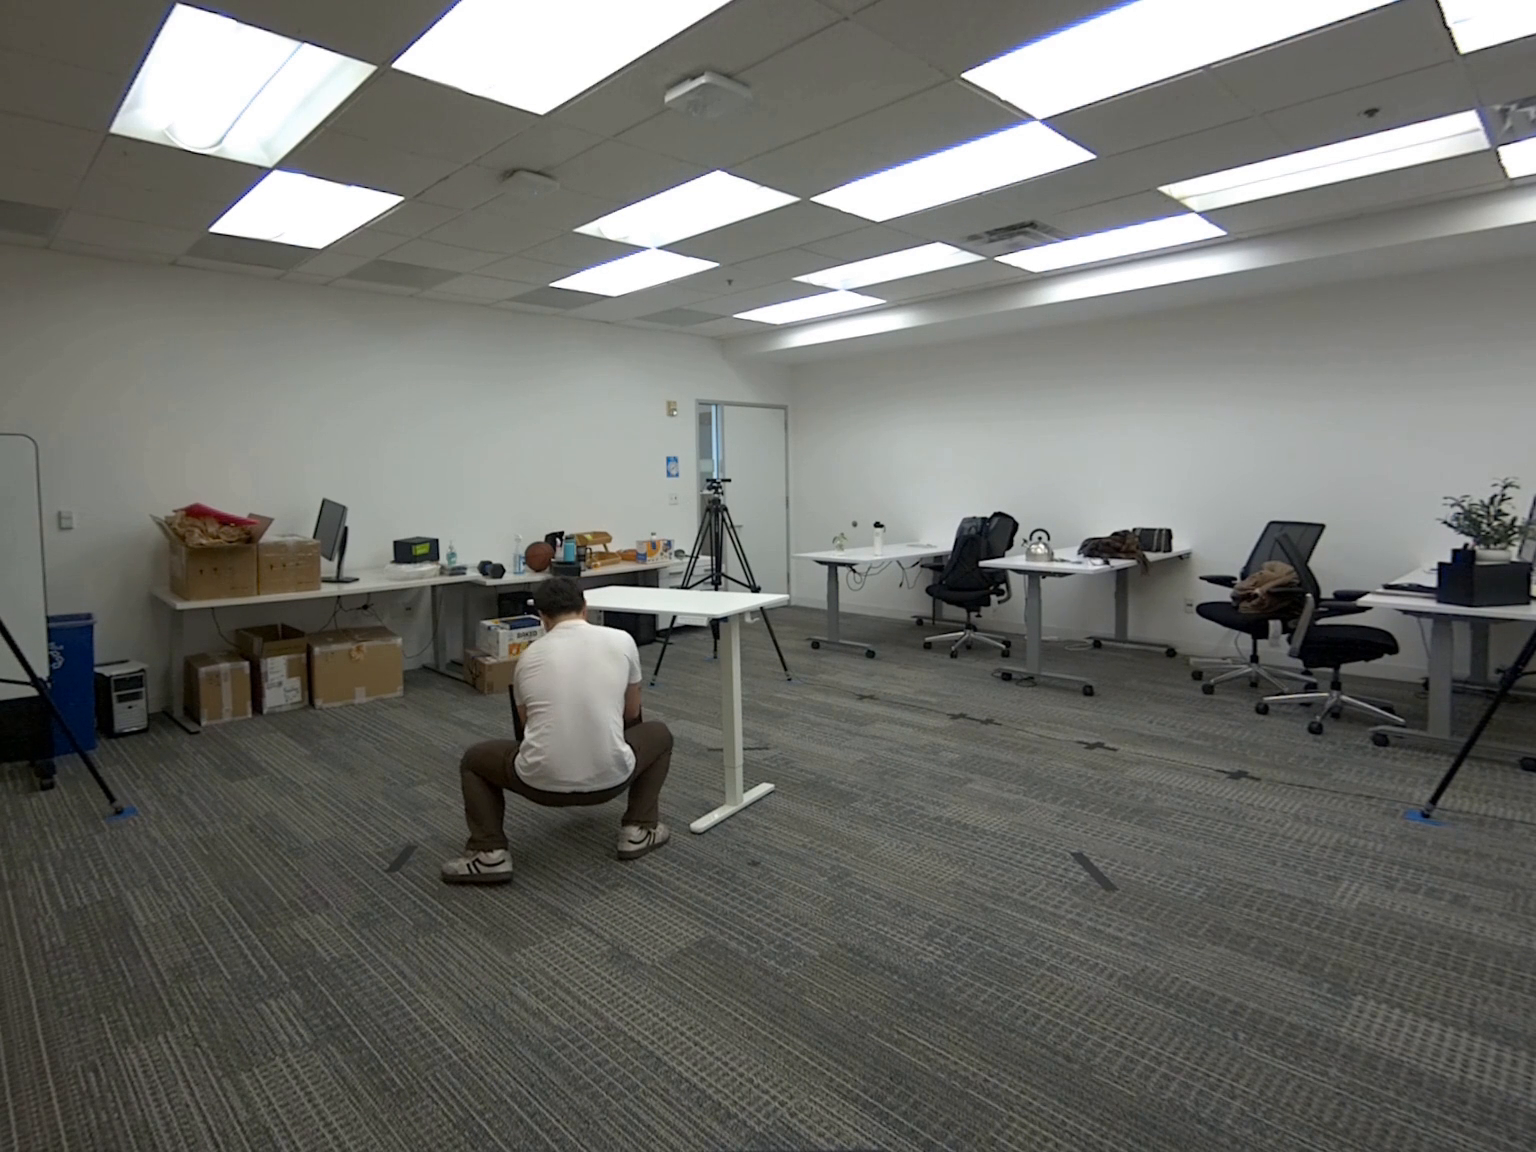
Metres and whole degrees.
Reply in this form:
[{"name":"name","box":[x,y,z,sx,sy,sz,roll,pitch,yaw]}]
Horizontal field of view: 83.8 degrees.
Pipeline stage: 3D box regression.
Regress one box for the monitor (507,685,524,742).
[{"name":"monitor","box":[-0.778,0.662,3.548,0.530,0.525,0.189,-7,-4,-20]}]
